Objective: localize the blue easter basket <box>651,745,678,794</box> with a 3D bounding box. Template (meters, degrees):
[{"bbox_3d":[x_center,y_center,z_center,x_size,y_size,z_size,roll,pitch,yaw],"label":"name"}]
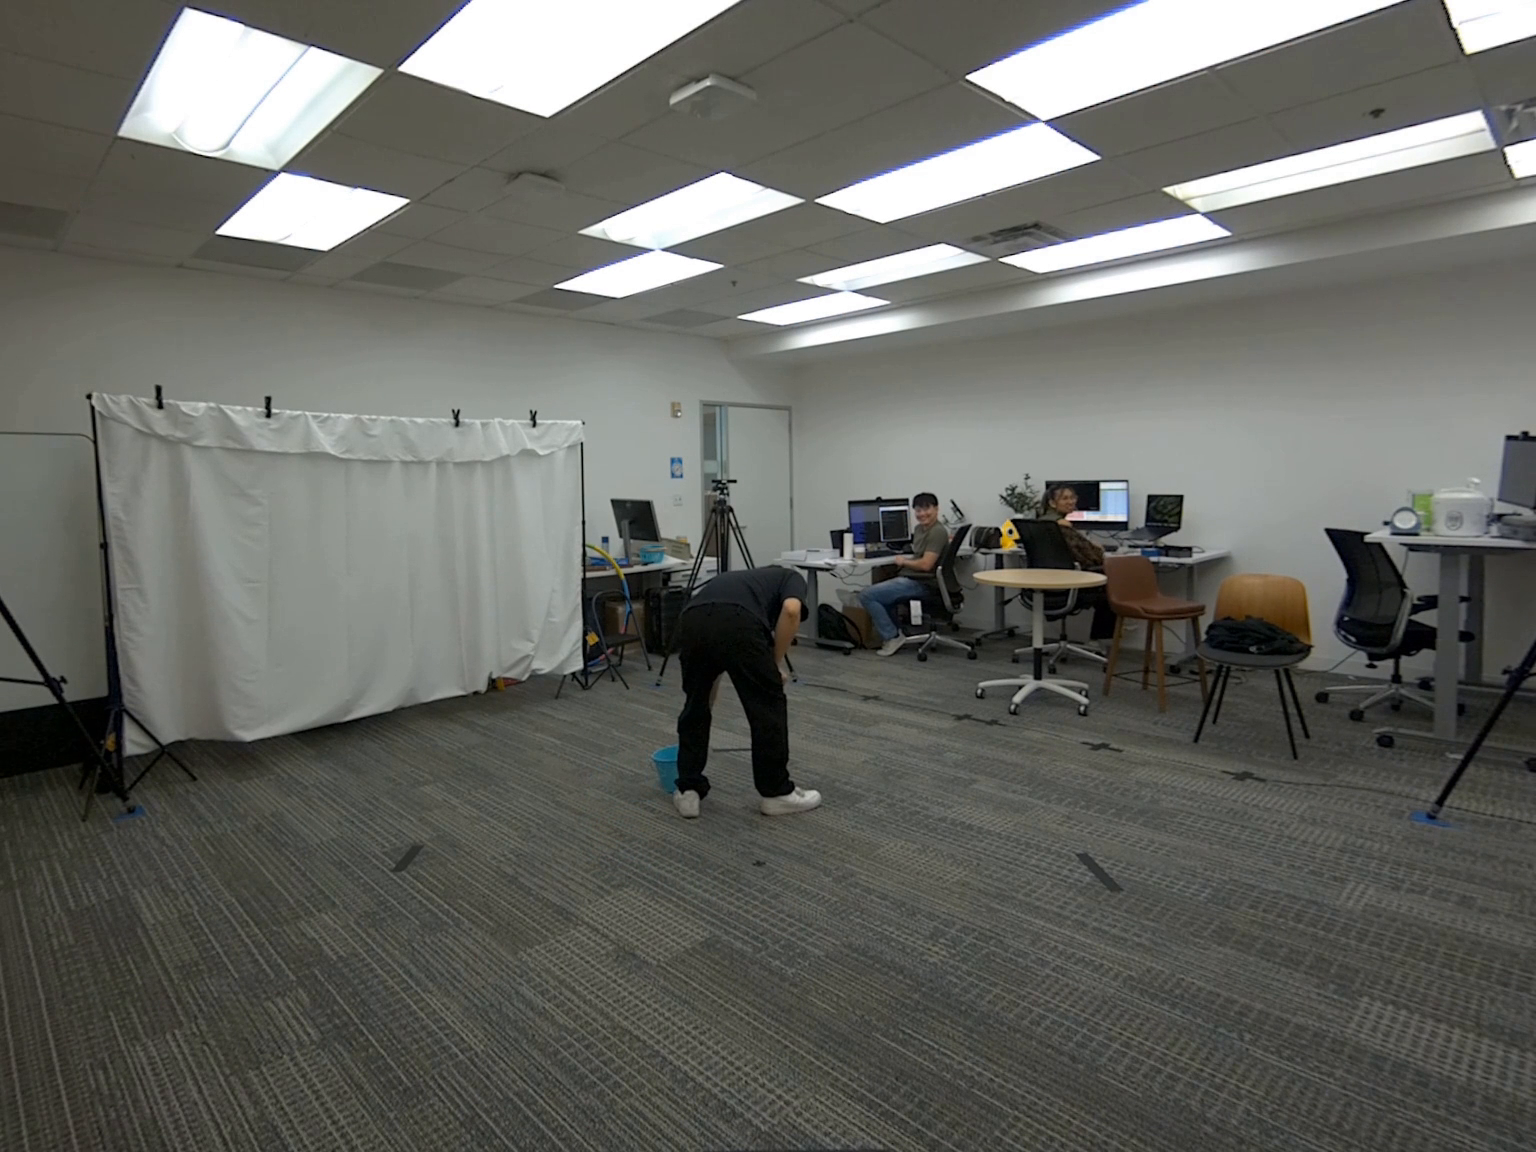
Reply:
[{"bbox_3d":[-0.402,0.887,3.914,0.243,0.155,0.245,-6,5,-1],"label":"blue easter basket"}]
